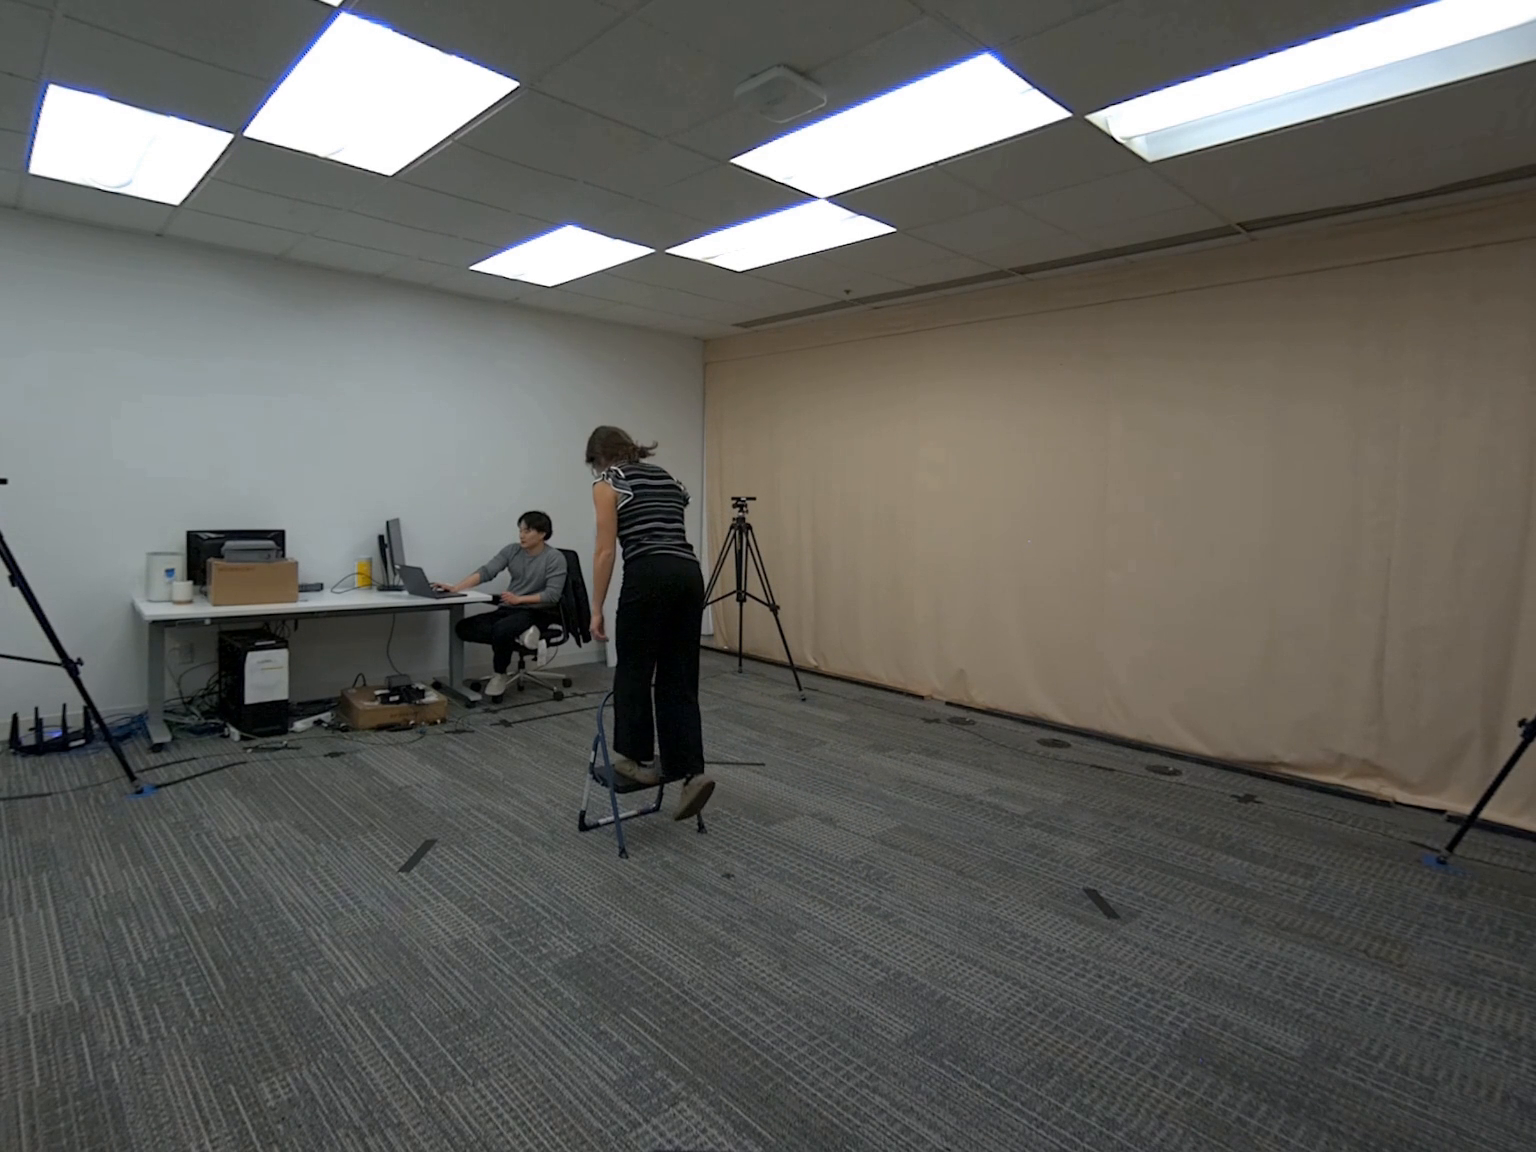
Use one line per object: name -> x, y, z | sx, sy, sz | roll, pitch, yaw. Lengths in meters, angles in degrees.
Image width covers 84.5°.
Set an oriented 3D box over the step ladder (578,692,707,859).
step ladder -> -0.521, 0.764, 3.487 | 0.420, 0.605, 0.358 | -1, 5, -44
